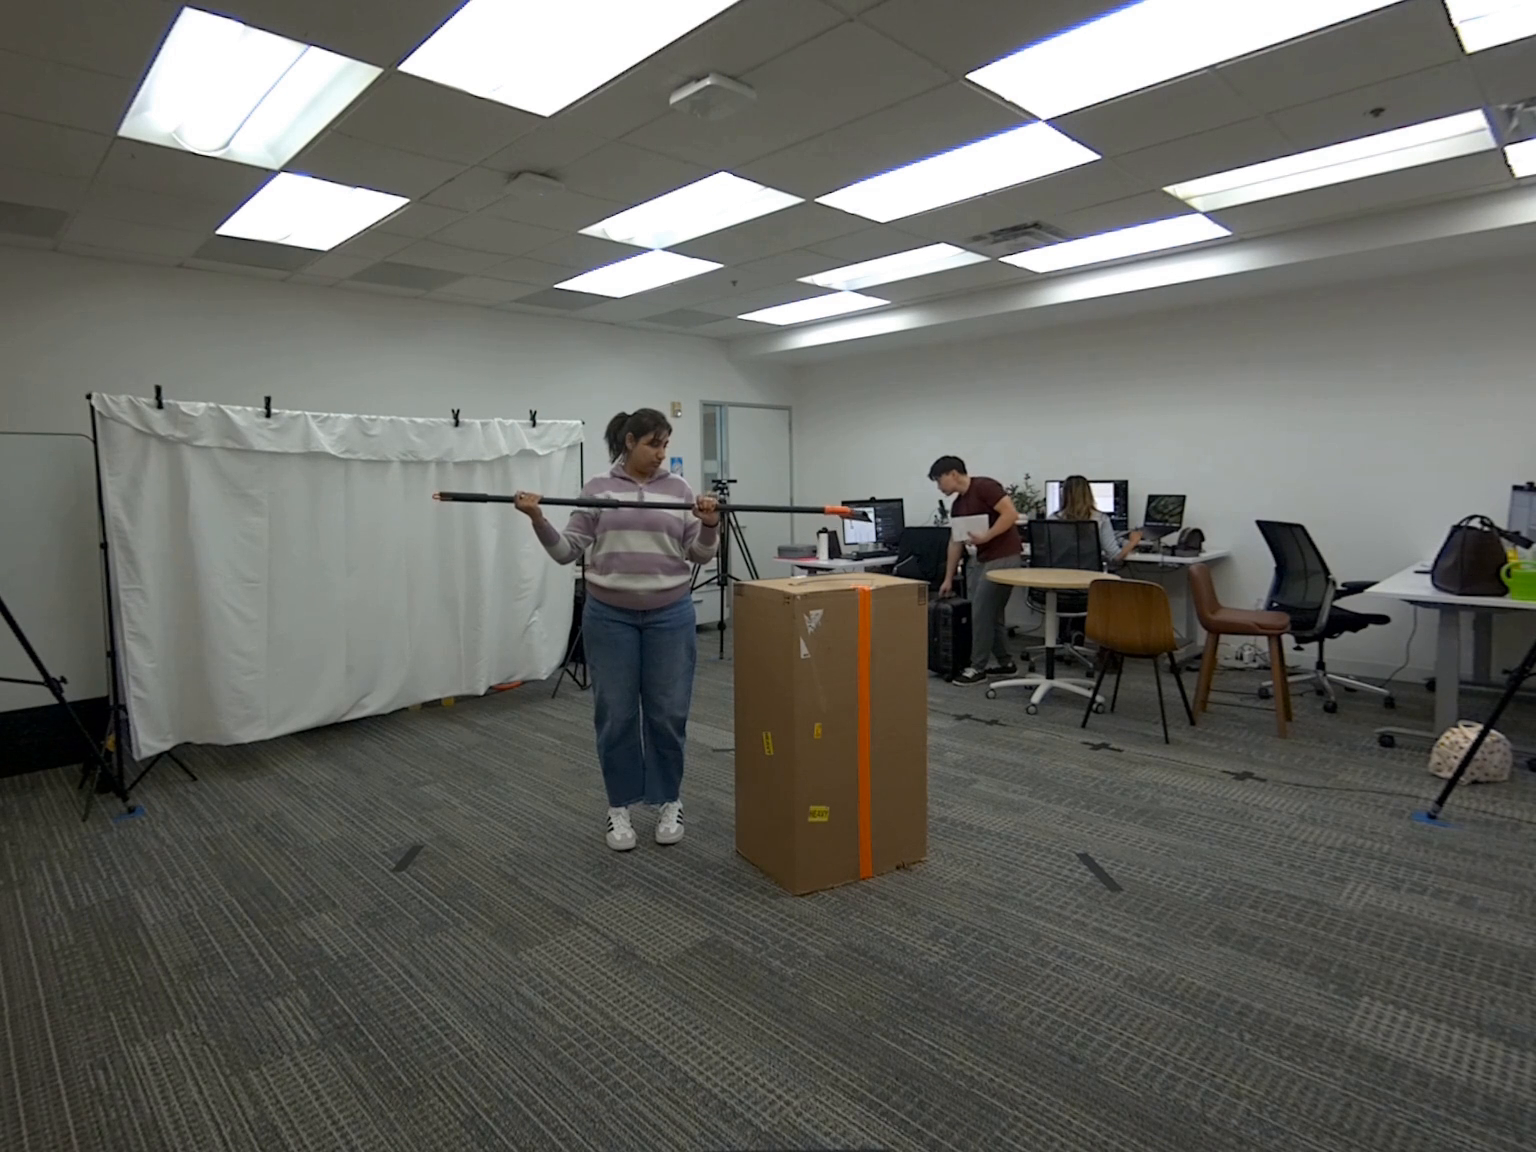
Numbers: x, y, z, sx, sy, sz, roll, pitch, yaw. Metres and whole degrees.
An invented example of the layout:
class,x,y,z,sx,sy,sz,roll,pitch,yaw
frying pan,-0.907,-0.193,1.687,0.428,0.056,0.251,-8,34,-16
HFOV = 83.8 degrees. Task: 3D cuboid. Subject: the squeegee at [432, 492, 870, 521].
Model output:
class,x,y,z,sx,sy,sz,roll,pitch,yaw
squeegee,-0.415,-0.260,3.096,1.531,0.053,0.439,3,2,-4
